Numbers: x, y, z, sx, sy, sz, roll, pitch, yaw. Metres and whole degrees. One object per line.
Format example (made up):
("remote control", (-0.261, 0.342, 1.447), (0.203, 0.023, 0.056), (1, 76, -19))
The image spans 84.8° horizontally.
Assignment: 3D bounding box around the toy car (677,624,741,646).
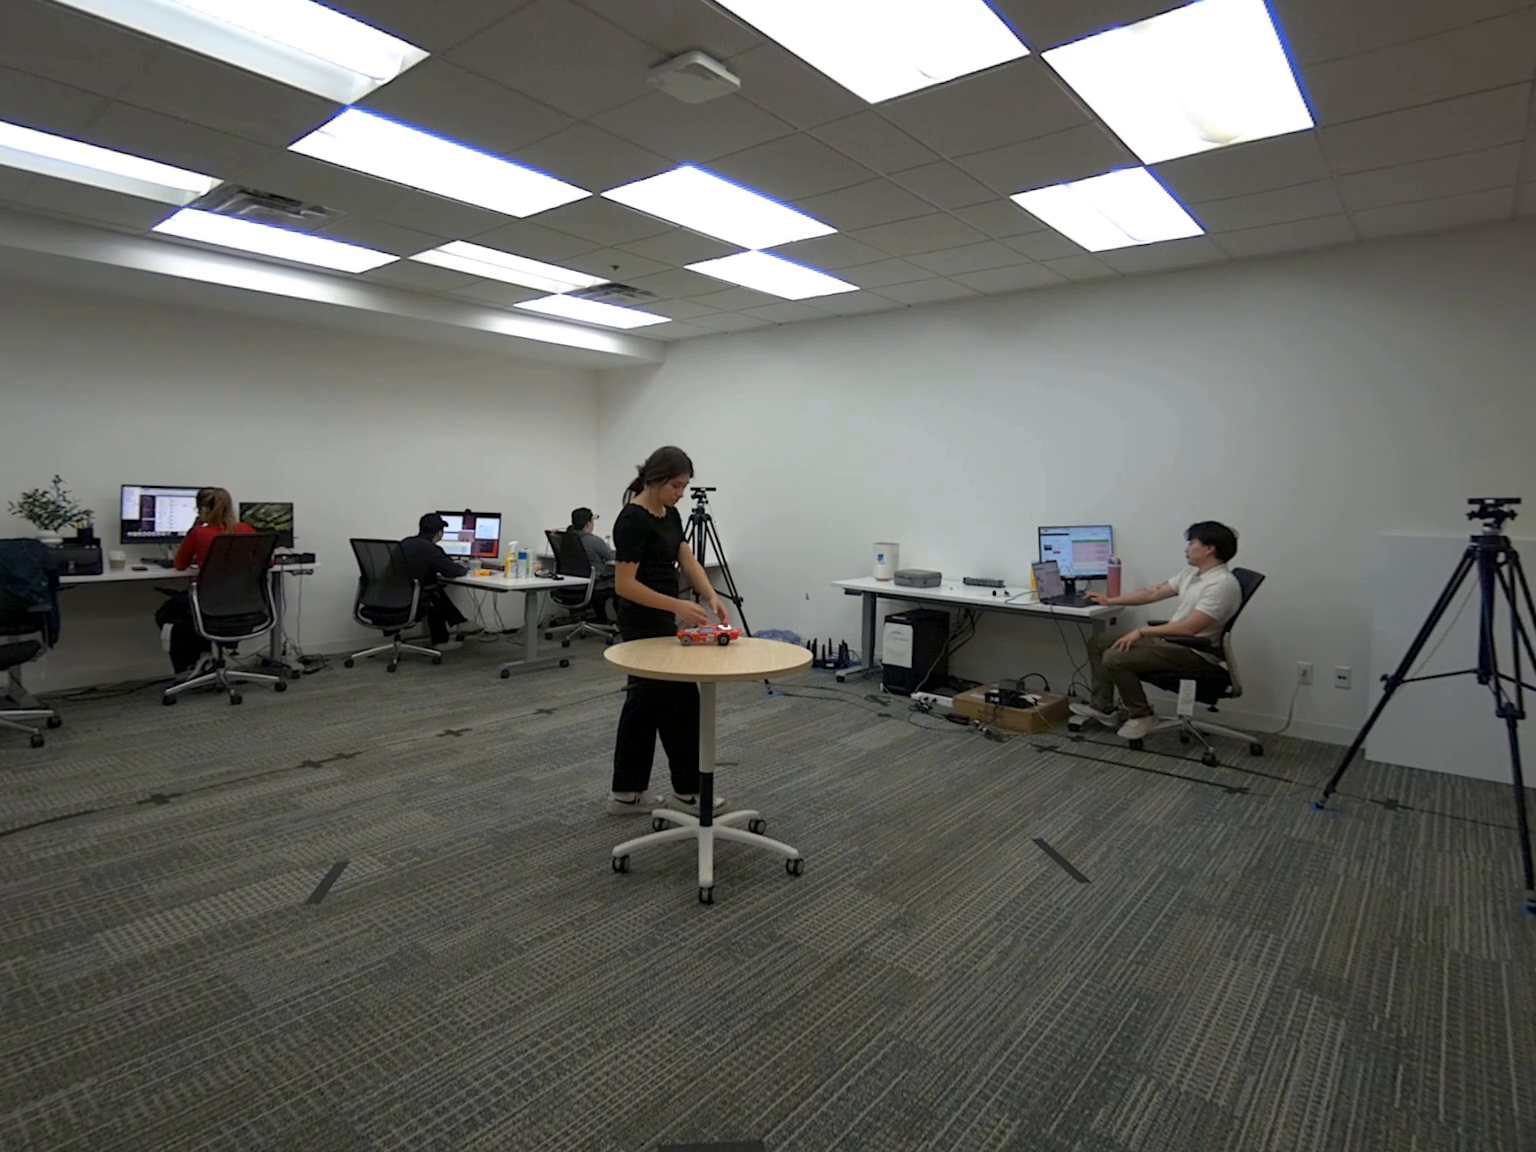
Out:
("toy car", (-0.238, 0.231, 3.318), (0.254, 0.083, 0.131), (-11, 5, -3))
